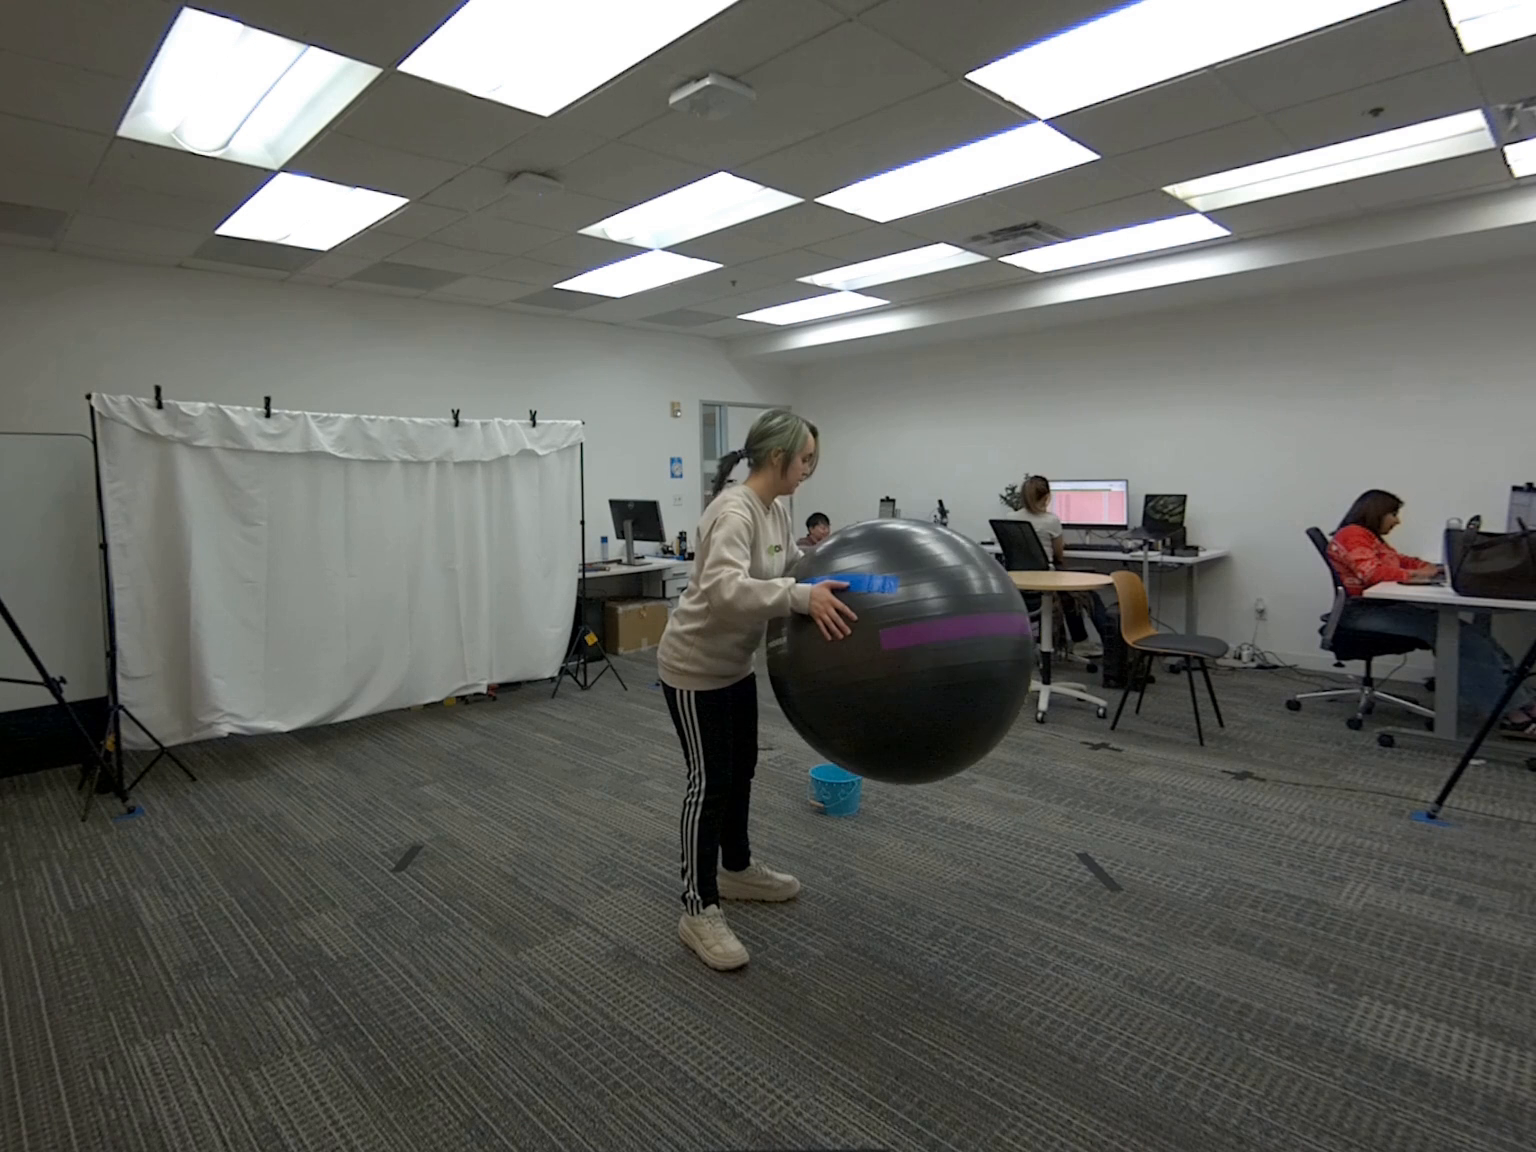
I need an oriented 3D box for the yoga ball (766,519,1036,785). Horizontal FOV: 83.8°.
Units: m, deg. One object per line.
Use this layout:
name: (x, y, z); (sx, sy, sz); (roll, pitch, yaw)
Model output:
yoga ball: (0.372, 0.216, 2.477); (0.757, 0.755, 0.762); (-1, 5, -2)
